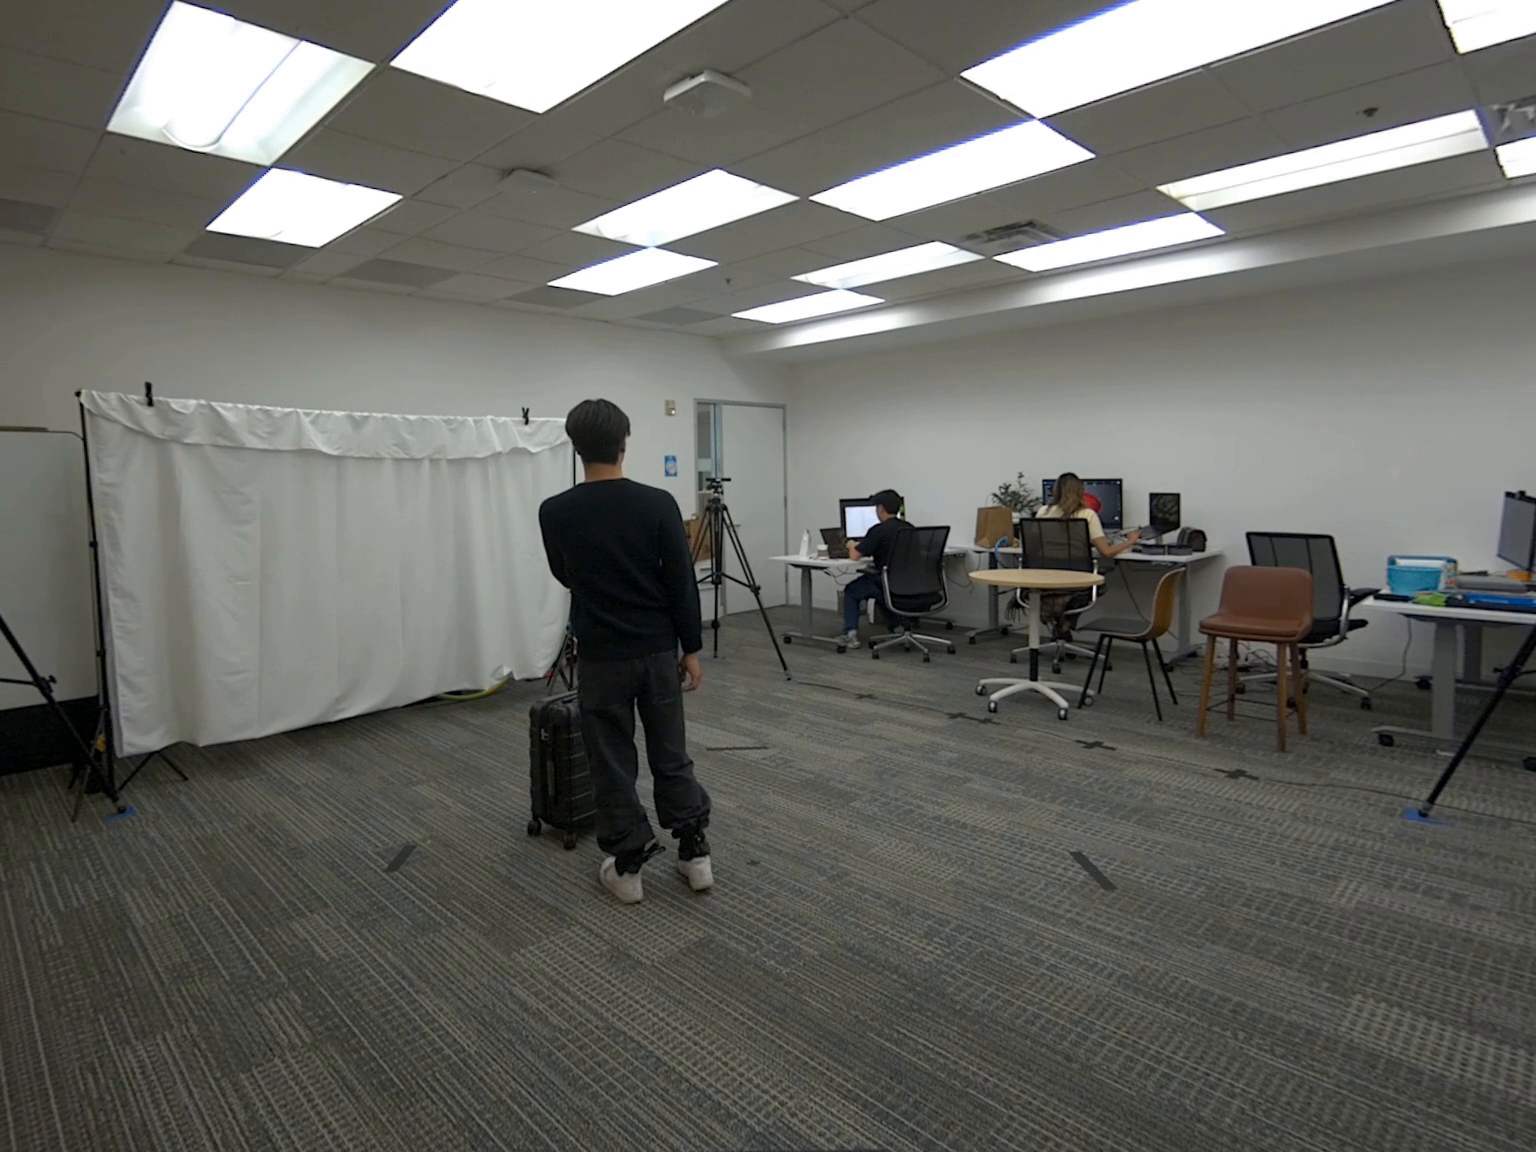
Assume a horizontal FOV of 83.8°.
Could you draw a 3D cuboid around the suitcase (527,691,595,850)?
[{"bbox_3d":[-0.770,0.541,3.442,0.264,0.978,0.373,-2,1,40],"label":"suitcase"}]
